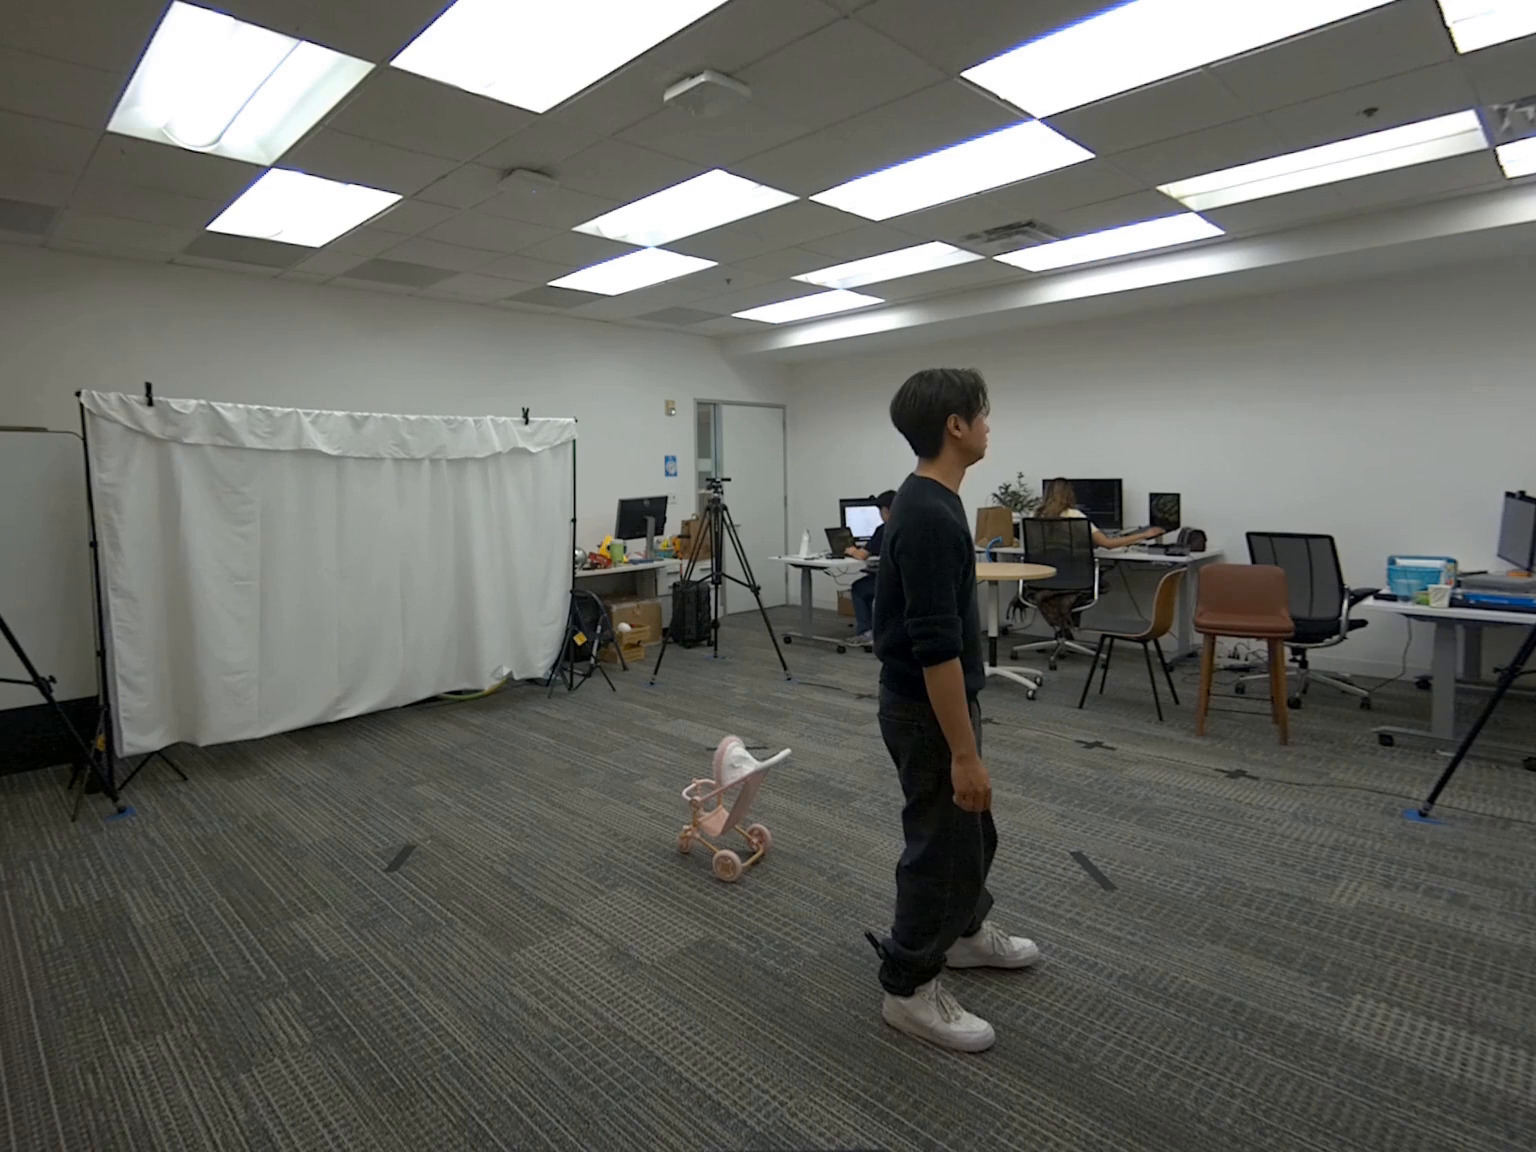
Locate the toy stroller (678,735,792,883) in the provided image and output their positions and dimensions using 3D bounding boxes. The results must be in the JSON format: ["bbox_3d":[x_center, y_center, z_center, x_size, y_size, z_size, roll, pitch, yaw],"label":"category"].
[{"bbox_3d":[-0.146,0.818,3.096,0.352,0.530,0.275,20,14,29],"label":"toy stroller"}]
